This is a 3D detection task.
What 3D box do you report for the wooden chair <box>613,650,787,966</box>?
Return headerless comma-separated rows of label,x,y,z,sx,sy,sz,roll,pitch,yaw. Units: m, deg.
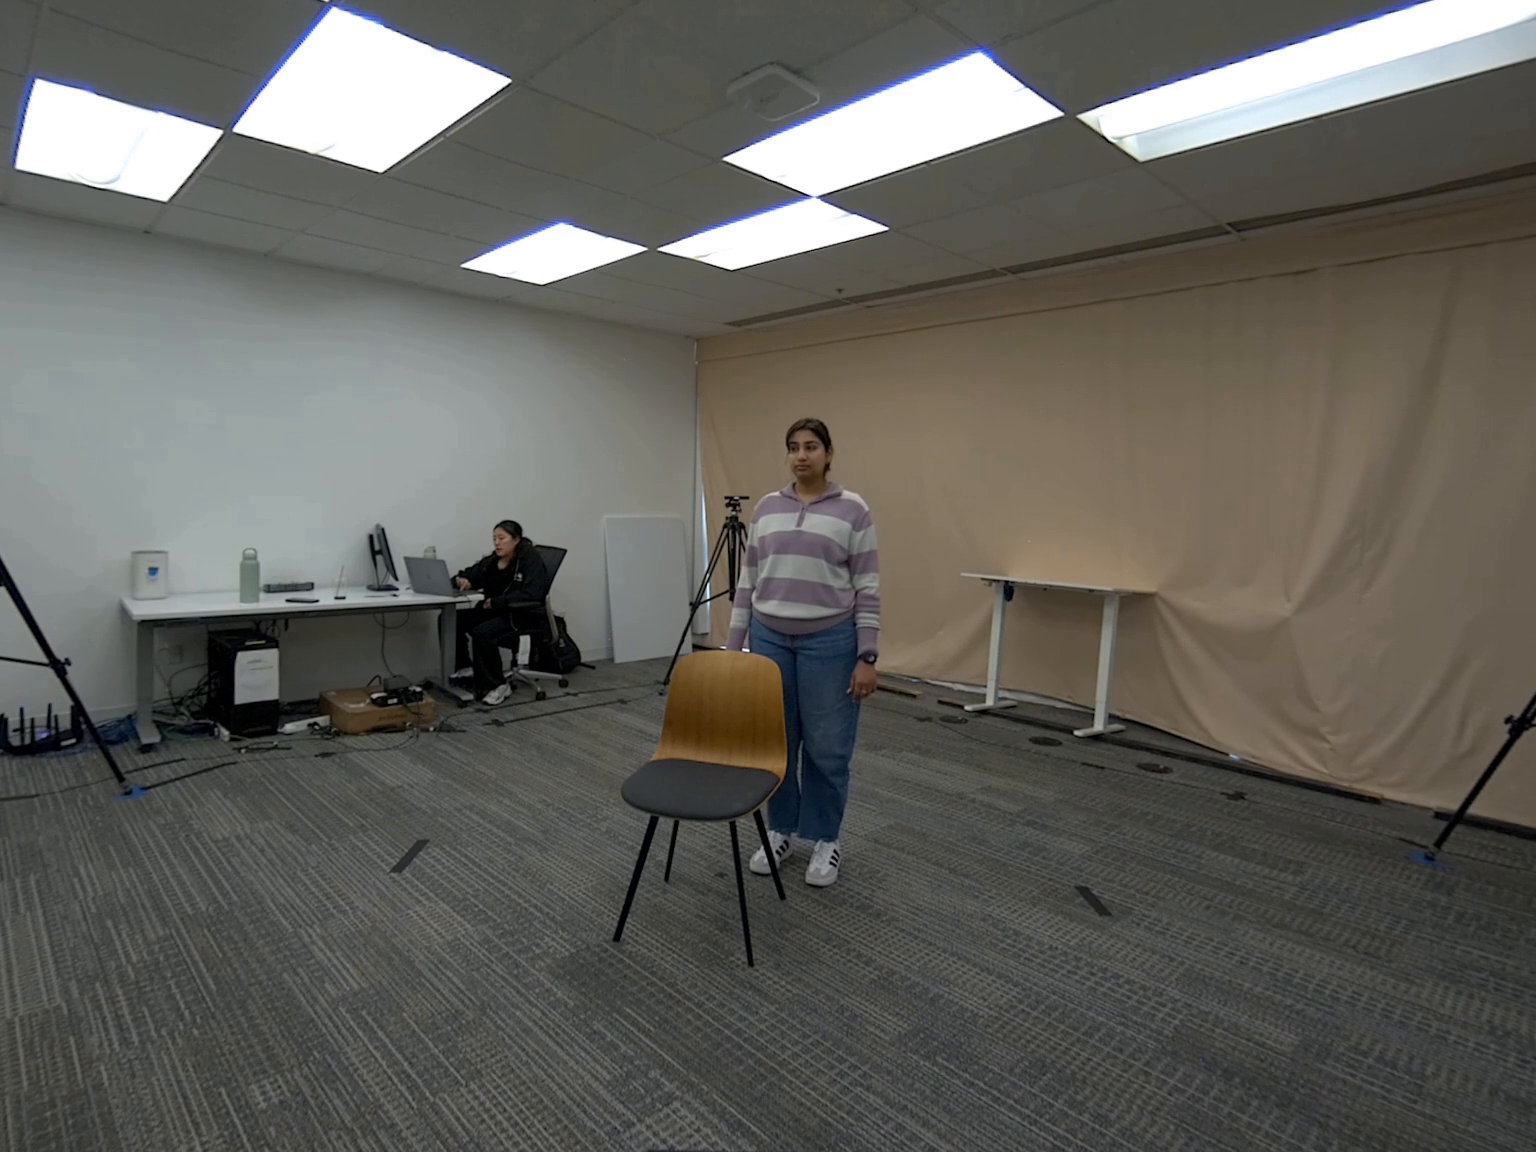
wooden chair,-0.208,0.711,2.732,0.484,0.877,0.516,2,0,16
